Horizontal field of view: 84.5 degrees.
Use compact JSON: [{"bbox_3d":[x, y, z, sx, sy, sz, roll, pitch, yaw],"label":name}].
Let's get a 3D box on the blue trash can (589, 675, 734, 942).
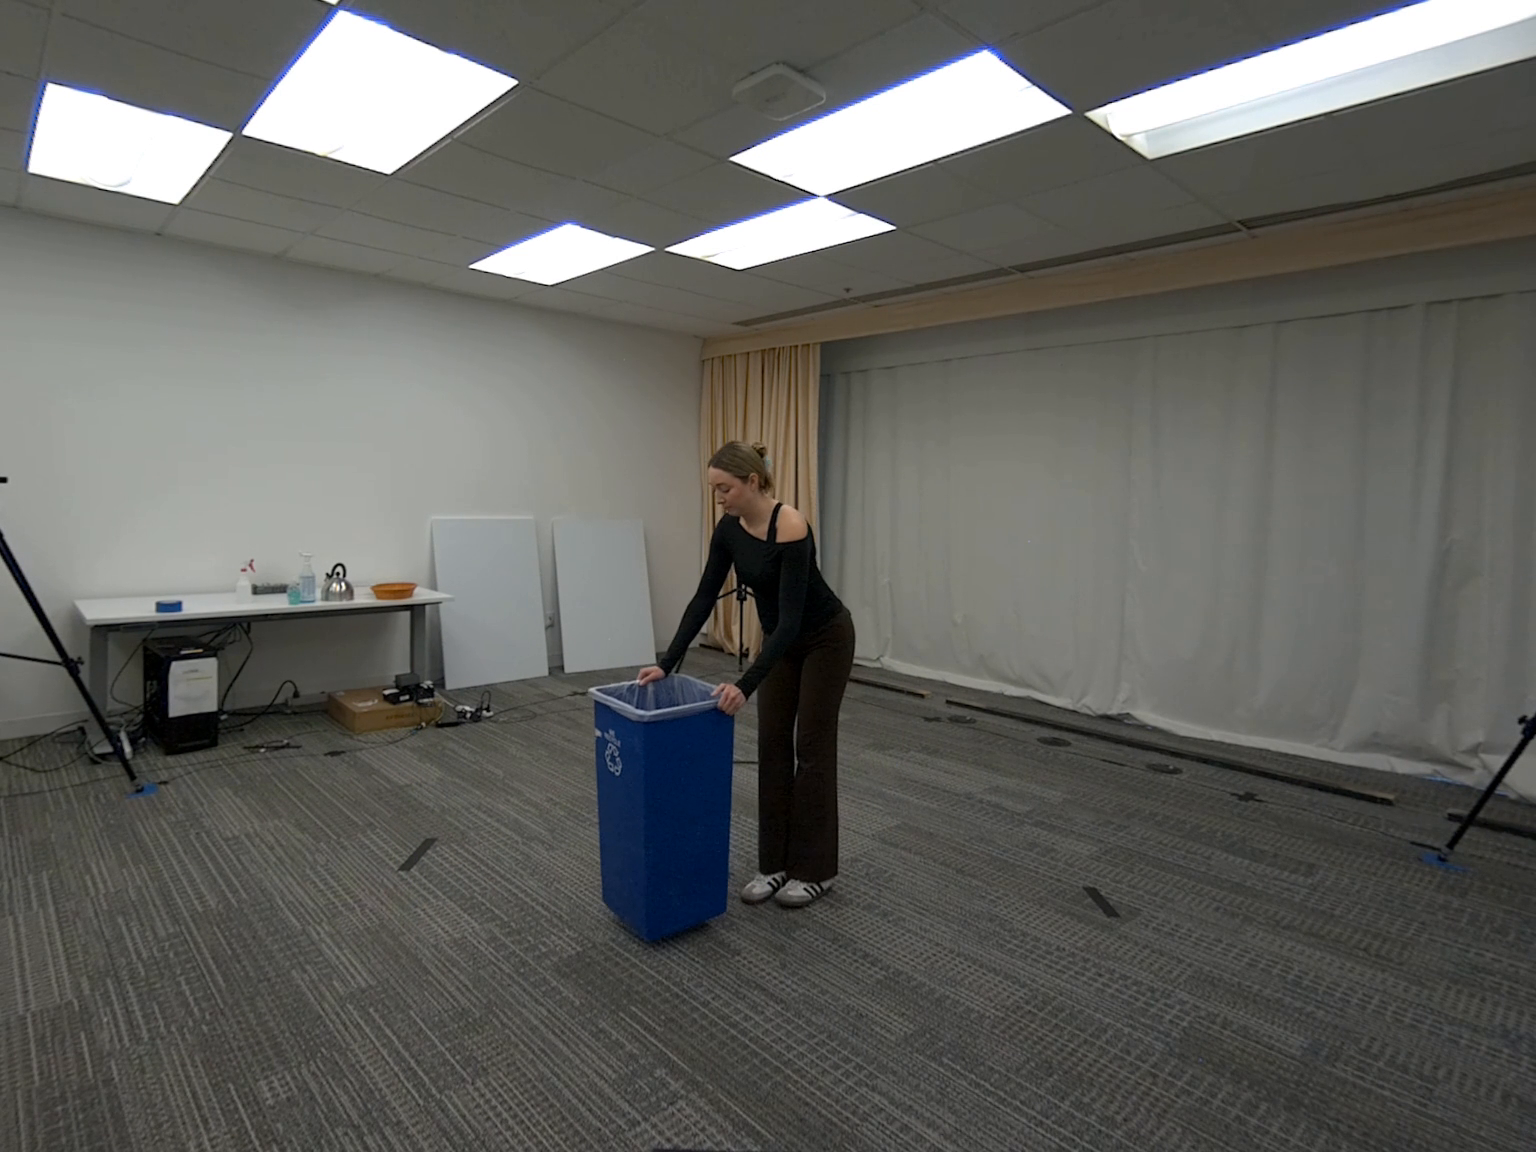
[{"bbox_3d":[-0.333,0.724,2.694,0.370,0.711,0.383,-4,6,-38],"label":"blue trash can"}]
